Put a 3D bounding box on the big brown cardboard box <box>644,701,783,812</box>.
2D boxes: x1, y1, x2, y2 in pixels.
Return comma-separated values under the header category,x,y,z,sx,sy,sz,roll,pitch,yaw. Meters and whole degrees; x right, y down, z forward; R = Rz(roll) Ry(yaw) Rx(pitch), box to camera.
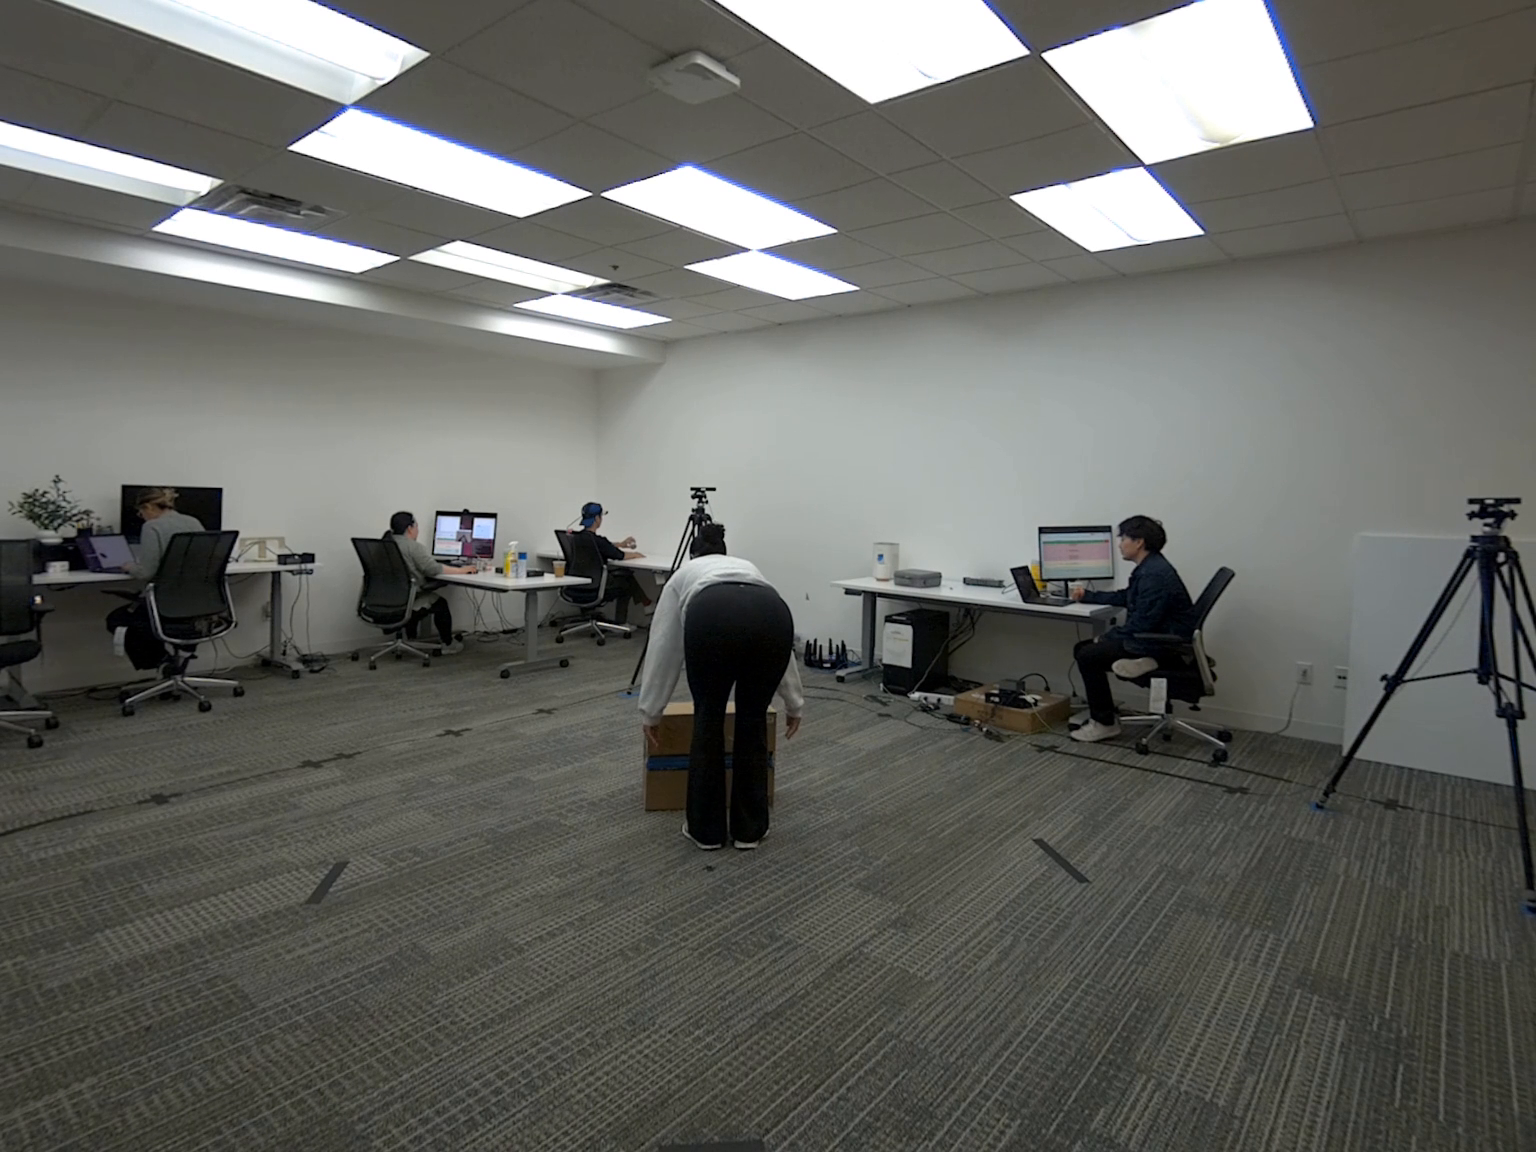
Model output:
category,x,y,z,sx,sy,sz,roll,pitch,yaw
big brown cardboard box,-0.276,0.787,3.788,0.584,0.416,0.236,0,3,-7
